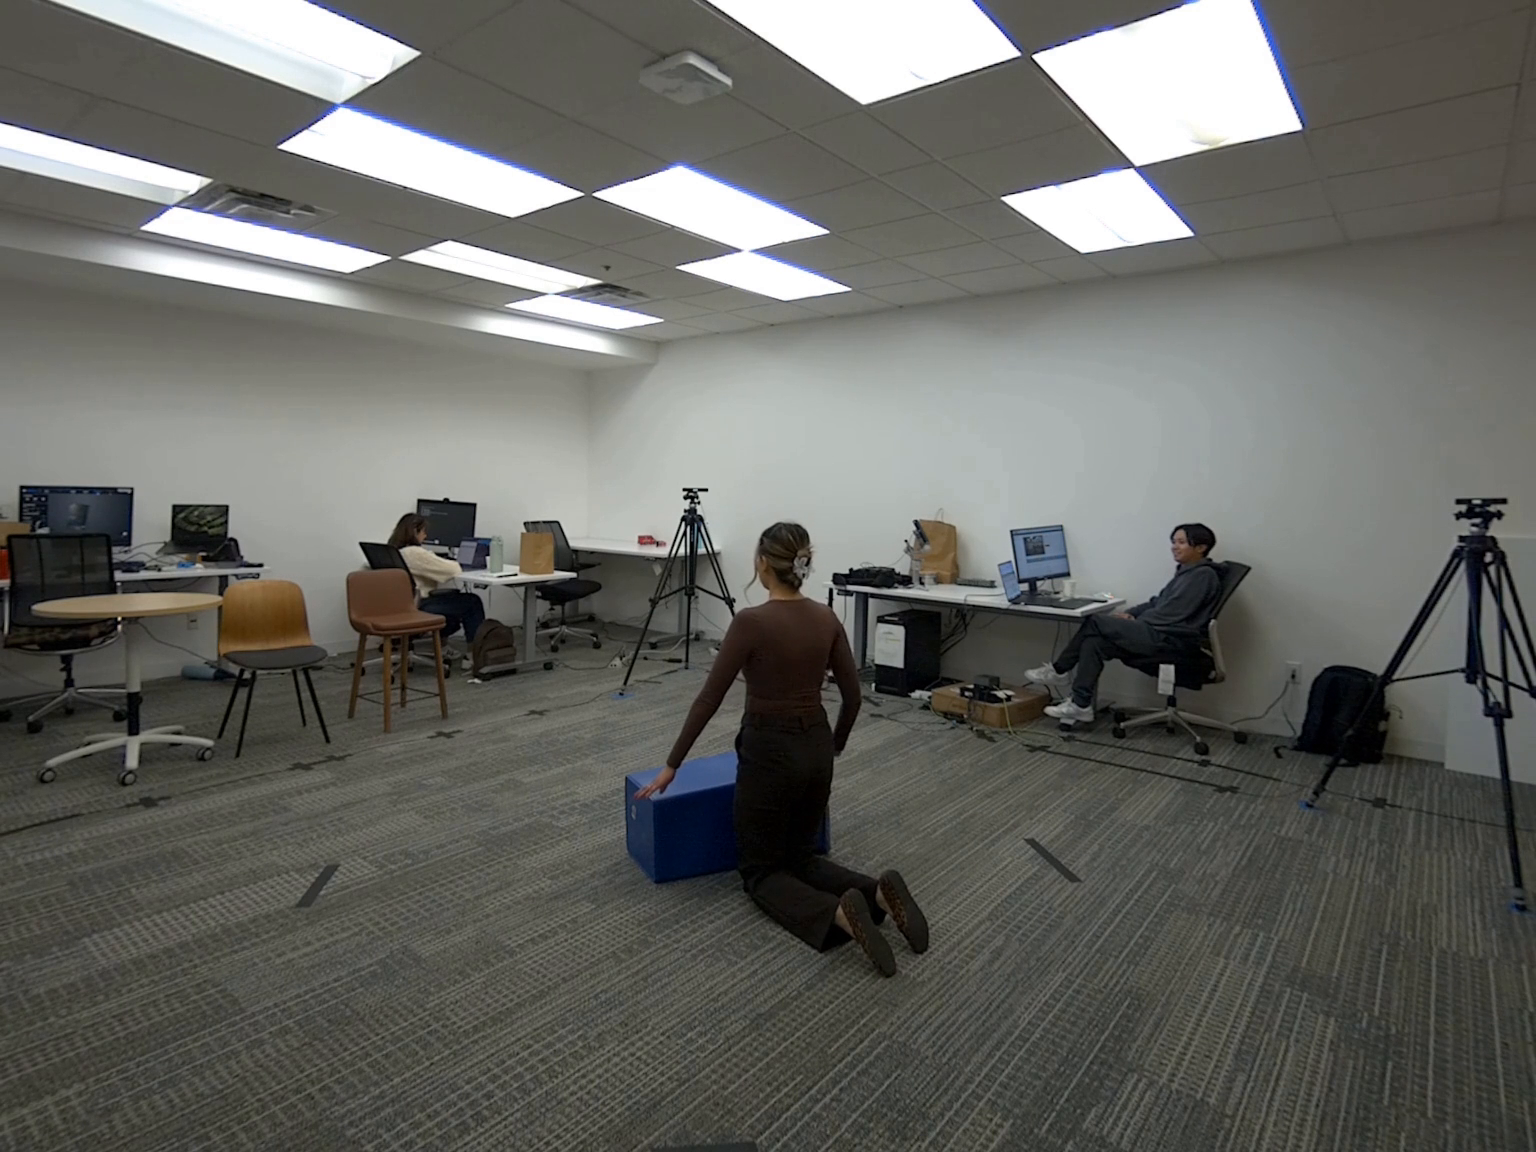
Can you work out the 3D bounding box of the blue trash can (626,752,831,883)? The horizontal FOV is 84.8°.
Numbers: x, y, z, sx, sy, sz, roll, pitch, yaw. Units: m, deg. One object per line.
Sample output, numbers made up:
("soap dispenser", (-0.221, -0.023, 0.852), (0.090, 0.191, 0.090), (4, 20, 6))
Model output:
("blue trash can", (-0.174, 0.884, 3.258), (0.697, 0.376, 0.385), (-3, 6, -26))
